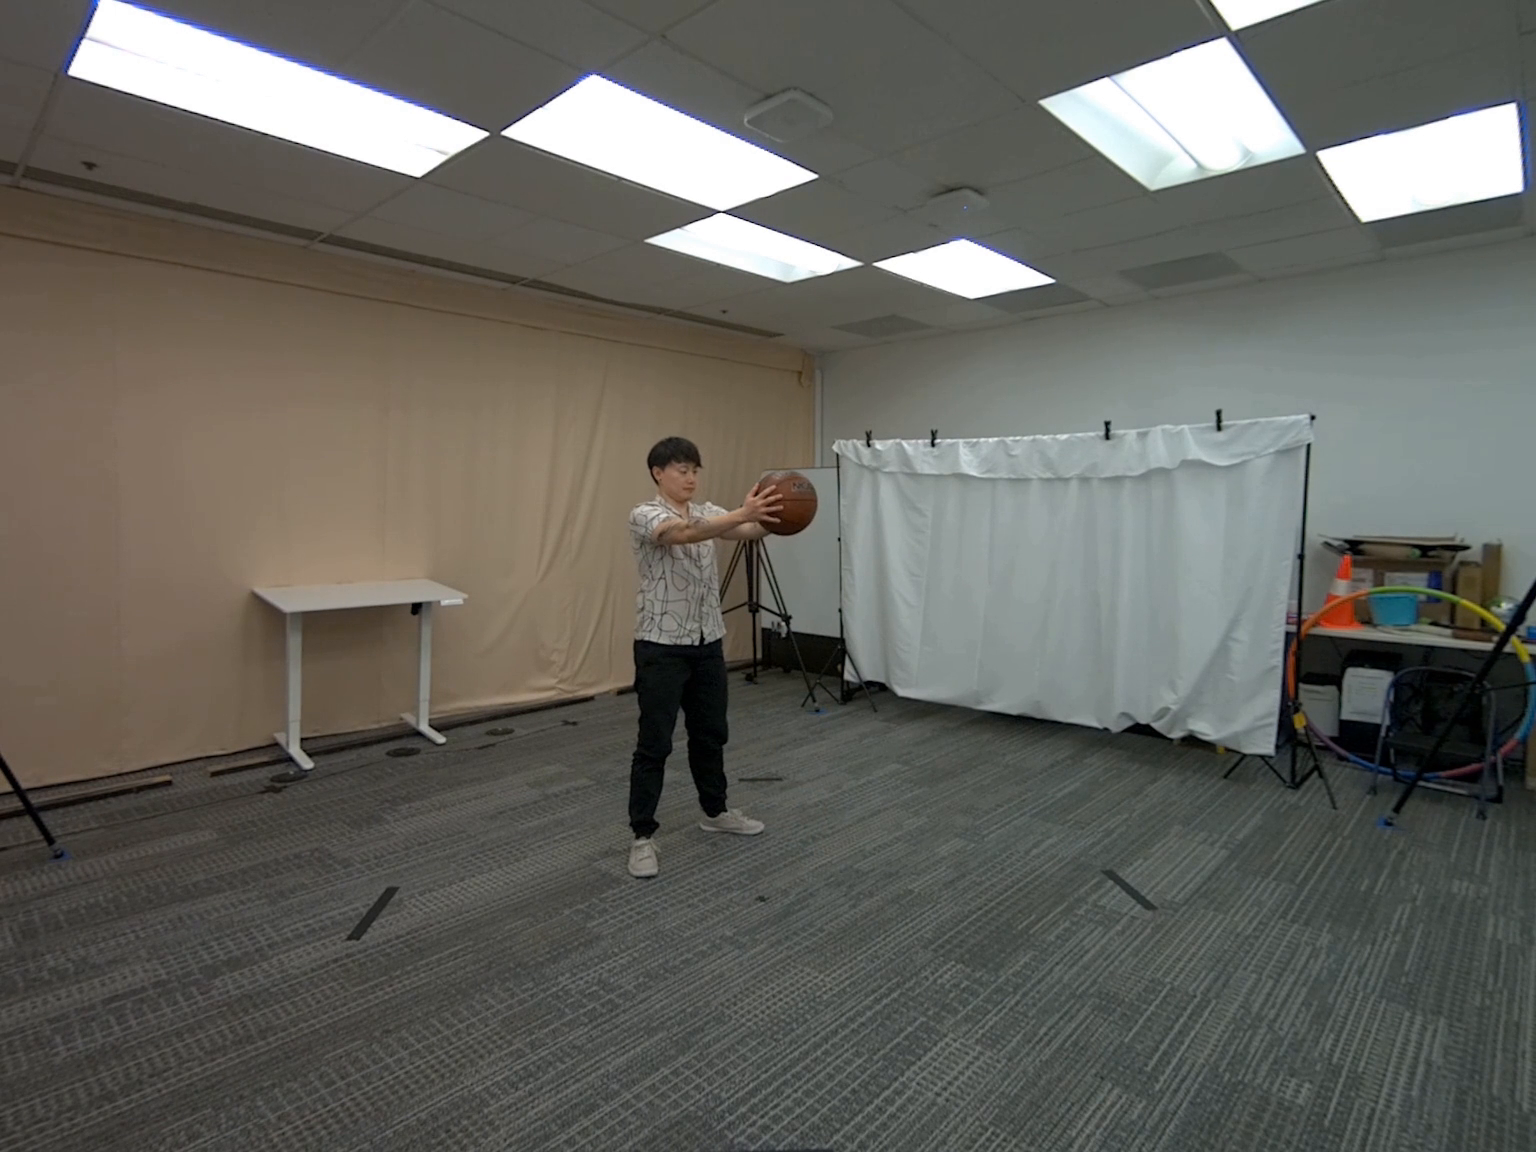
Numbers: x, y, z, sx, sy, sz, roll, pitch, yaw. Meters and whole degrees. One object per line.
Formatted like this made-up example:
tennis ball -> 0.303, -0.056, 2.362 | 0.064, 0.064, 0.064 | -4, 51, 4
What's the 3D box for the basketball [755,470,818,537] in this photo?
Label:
basketball -> 0.061, -0.266, 3.043 | 0.236, 0.235, 0.237 | 0, 4, -2
